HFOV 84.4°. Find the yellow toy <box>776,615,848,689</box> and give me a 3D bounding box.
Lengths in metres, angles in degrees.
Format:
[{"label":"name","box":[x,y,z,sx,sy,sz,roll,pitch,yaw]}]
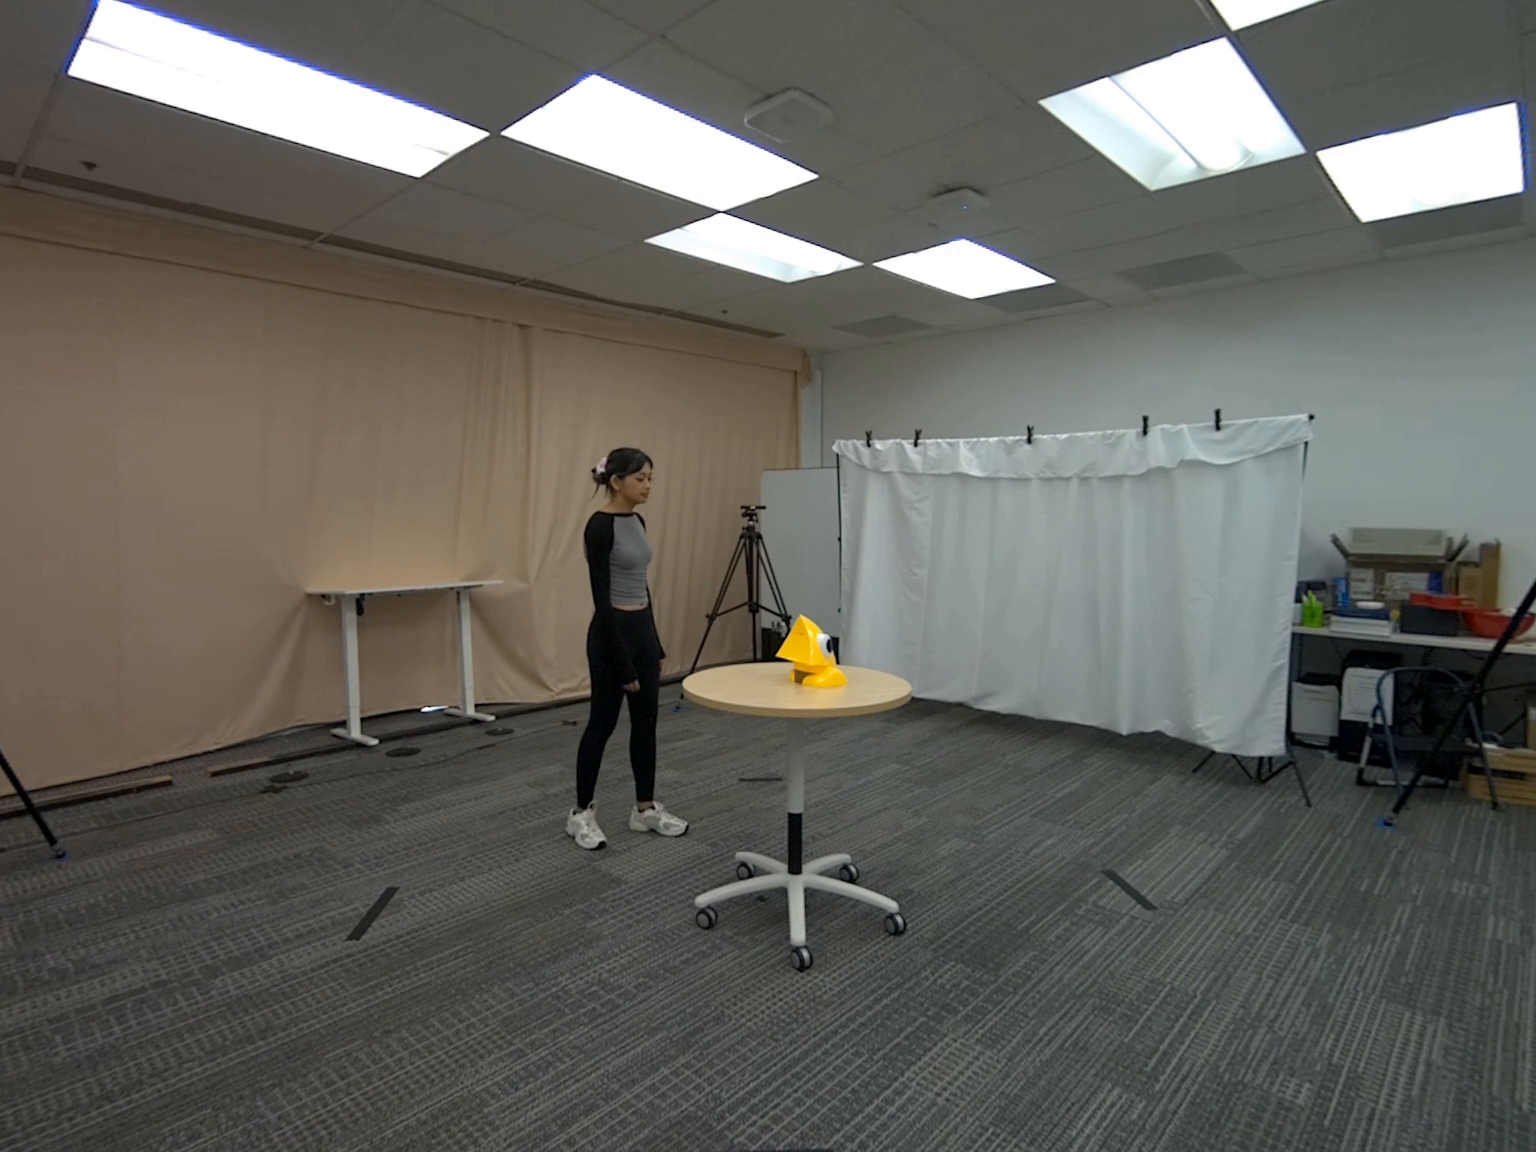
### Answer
[{"label":"yellow toy","box":[0.165,0.247,2.868,0.188,0.230,0.211,0,3,-32]}]
